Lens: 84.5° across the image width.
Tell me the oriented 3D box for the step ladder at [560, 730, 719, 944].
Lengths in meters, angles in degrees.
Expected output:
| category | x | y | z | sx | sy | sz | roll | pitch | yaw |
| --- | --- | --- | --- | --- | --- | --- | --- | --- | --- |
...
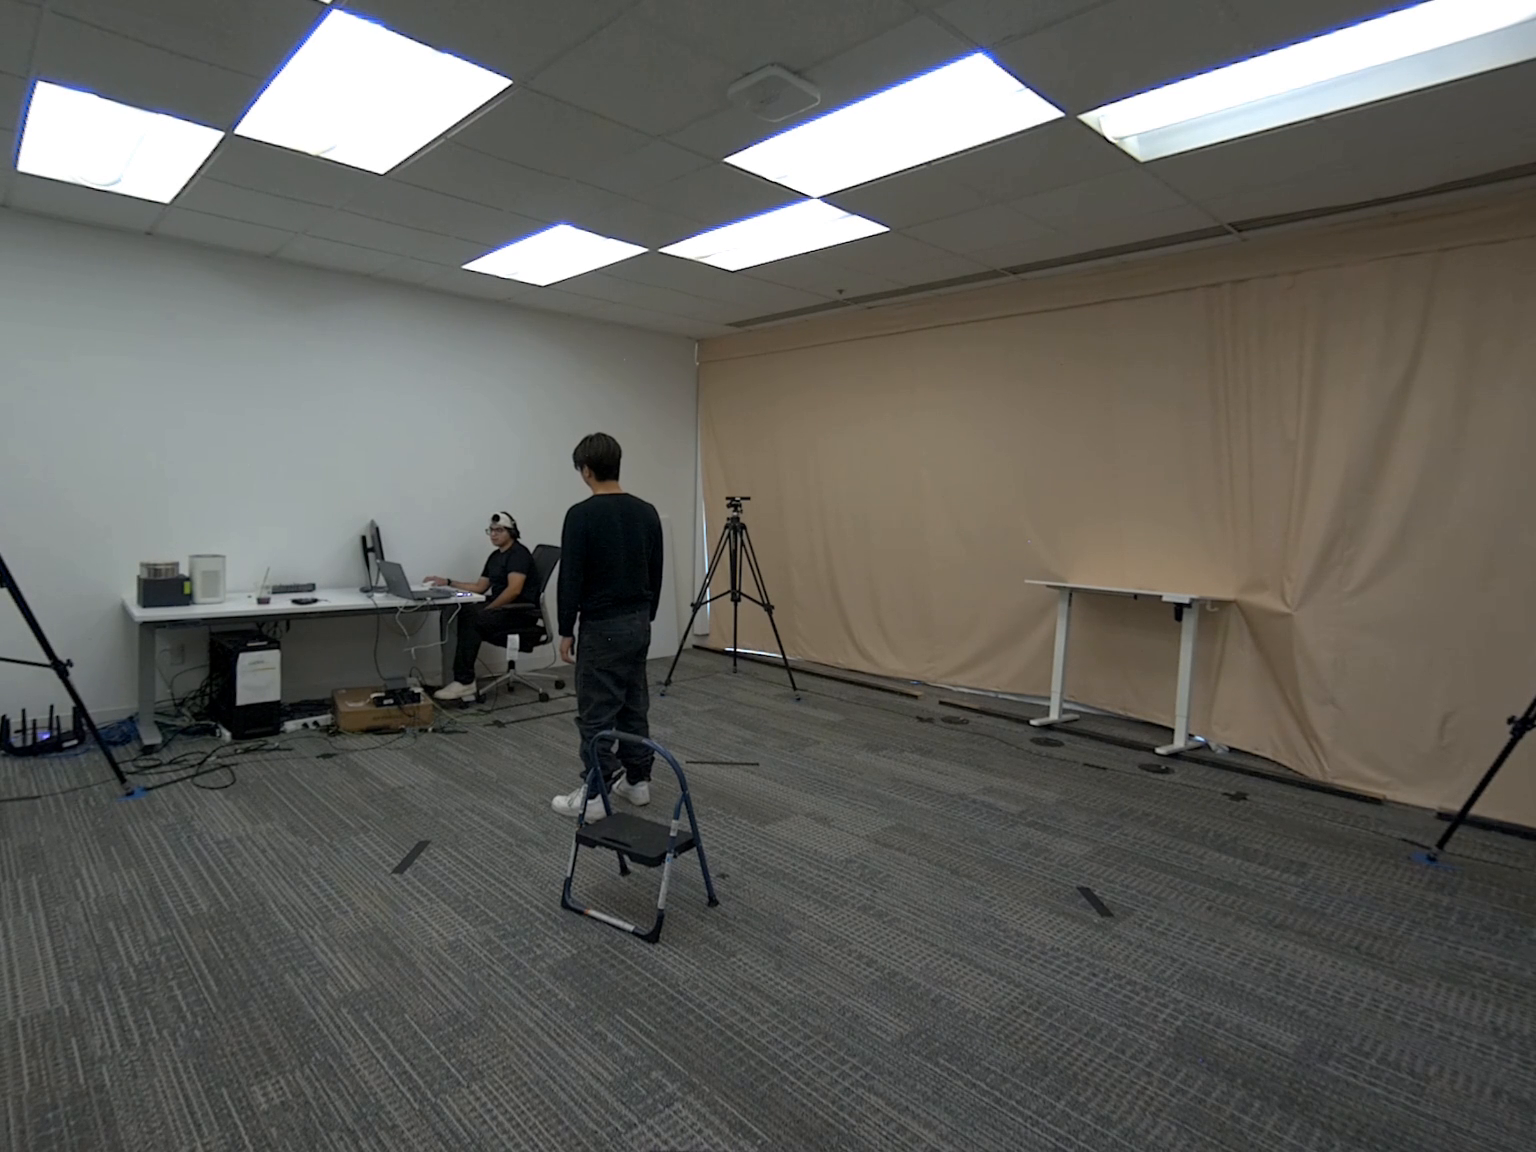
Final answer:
| category | x | y | z | sx | sy | sz | roll | pitch | yaw |
| --- | --- | --- | --- | --- | --- | --- | --- | --- | --- |
| step ladder | -0.434 | 0.820 | 2.851 | 0.440 | 0.605 | 0.342 | 3 | 3 | 32 |
